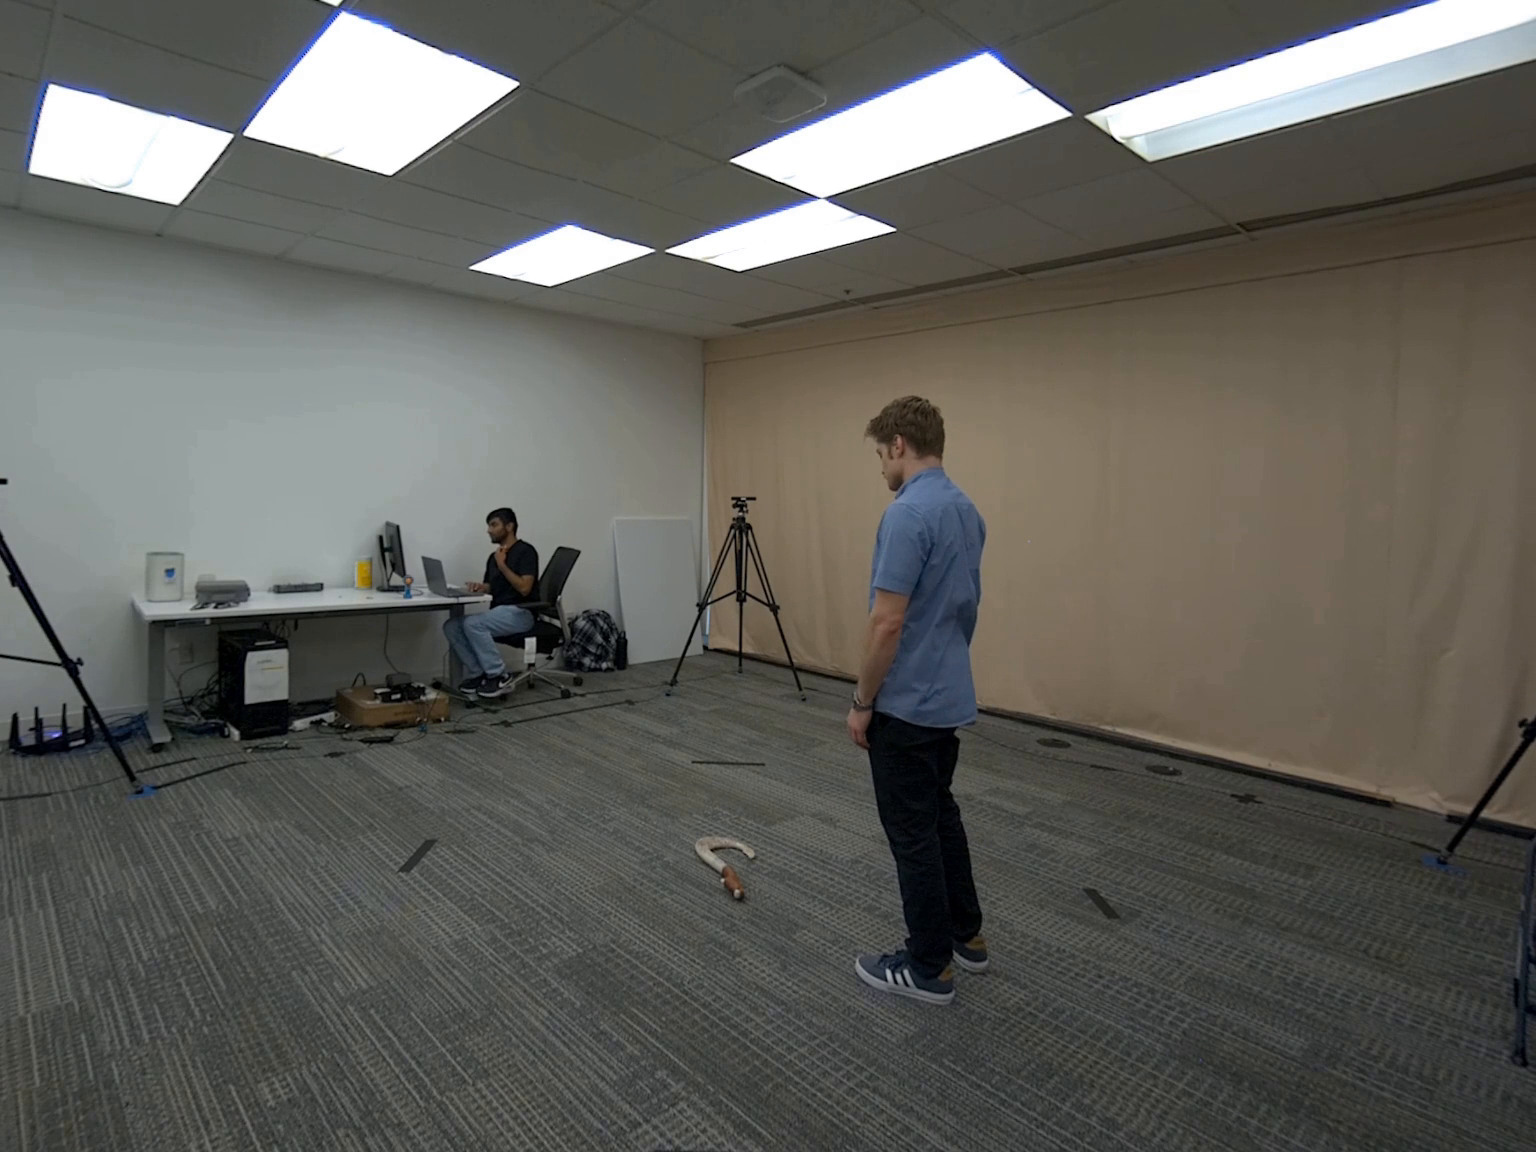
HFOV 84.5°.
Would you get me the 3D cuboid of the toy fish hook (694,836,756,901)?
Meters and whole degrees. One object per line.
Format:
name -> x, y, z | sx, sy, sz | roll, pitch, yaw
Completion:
toy fish hook -> -0.133, 1.080, 3.148 | 0.222, 0.048, 0.515 | 0, 6, -18
